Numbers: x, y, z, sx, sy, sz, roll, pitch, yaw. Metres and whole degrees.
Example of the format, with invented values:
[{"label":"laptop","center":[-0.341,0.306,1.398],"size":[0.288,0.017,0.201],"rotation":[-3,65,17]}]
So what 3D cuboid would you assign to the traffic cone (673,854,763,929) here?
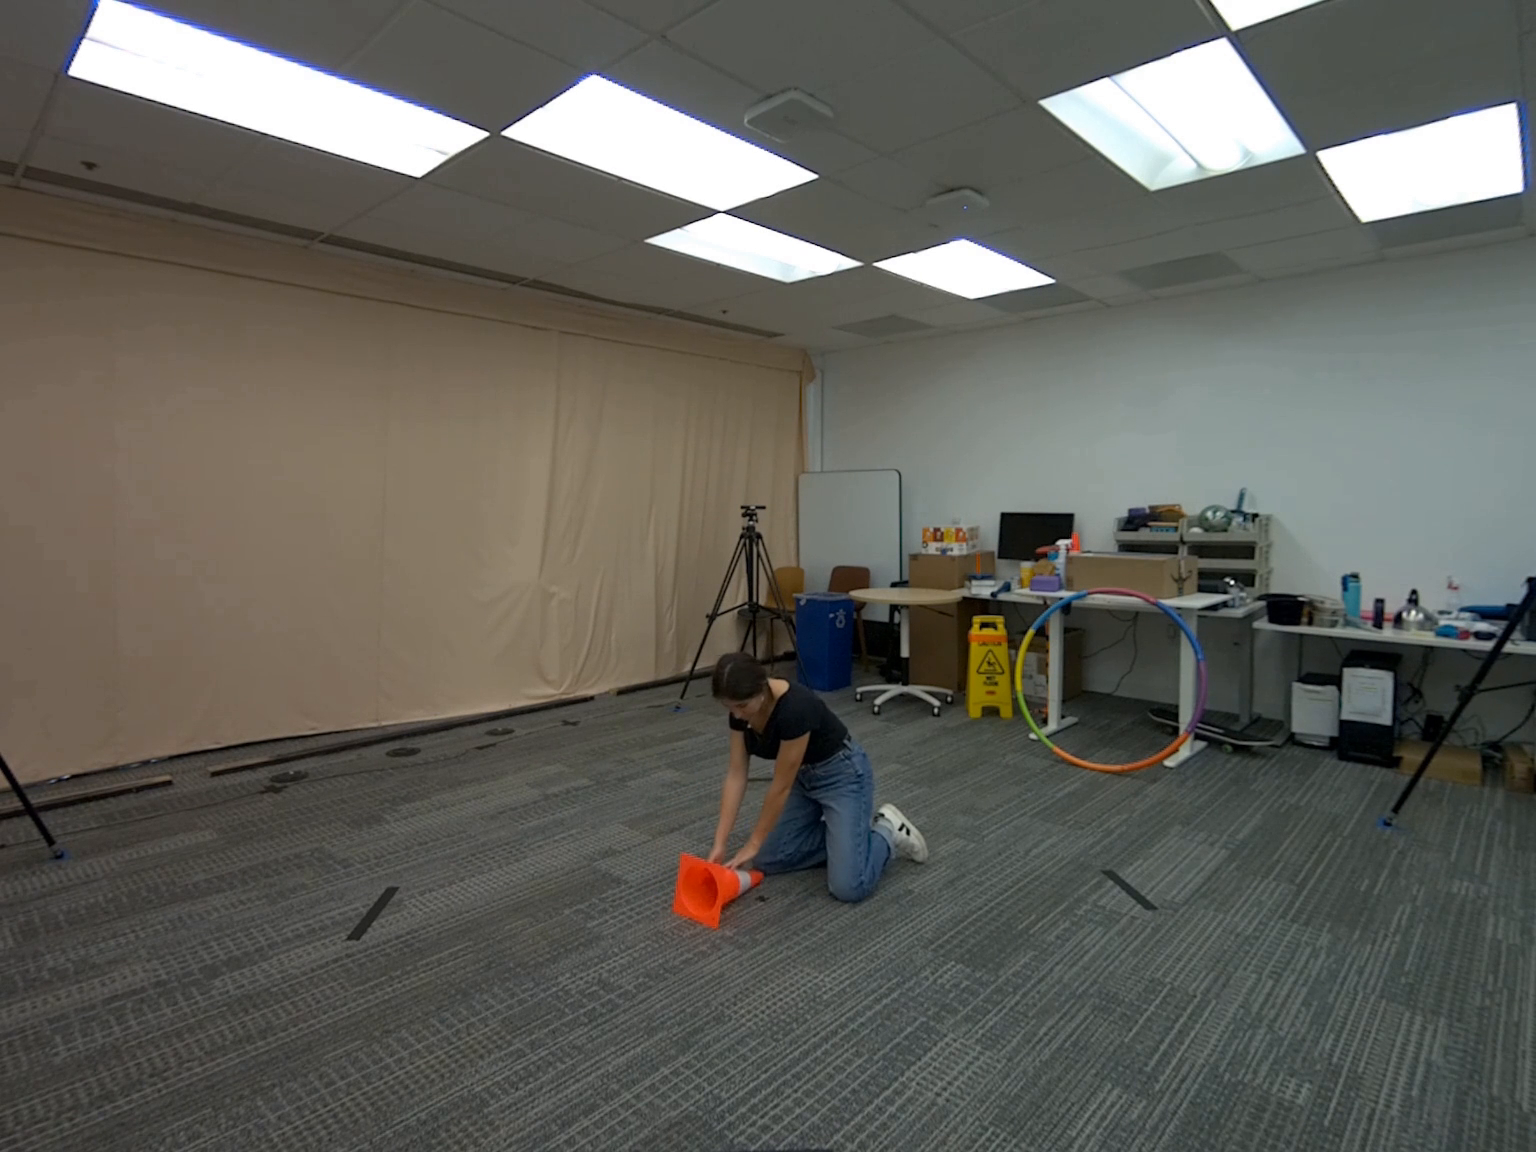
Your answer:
[{"label":"traffic cone","center":[-0.114,1.098,2.976],"size":[0.210,0.205,0.370],"rotation":[4,-8,38]}]
